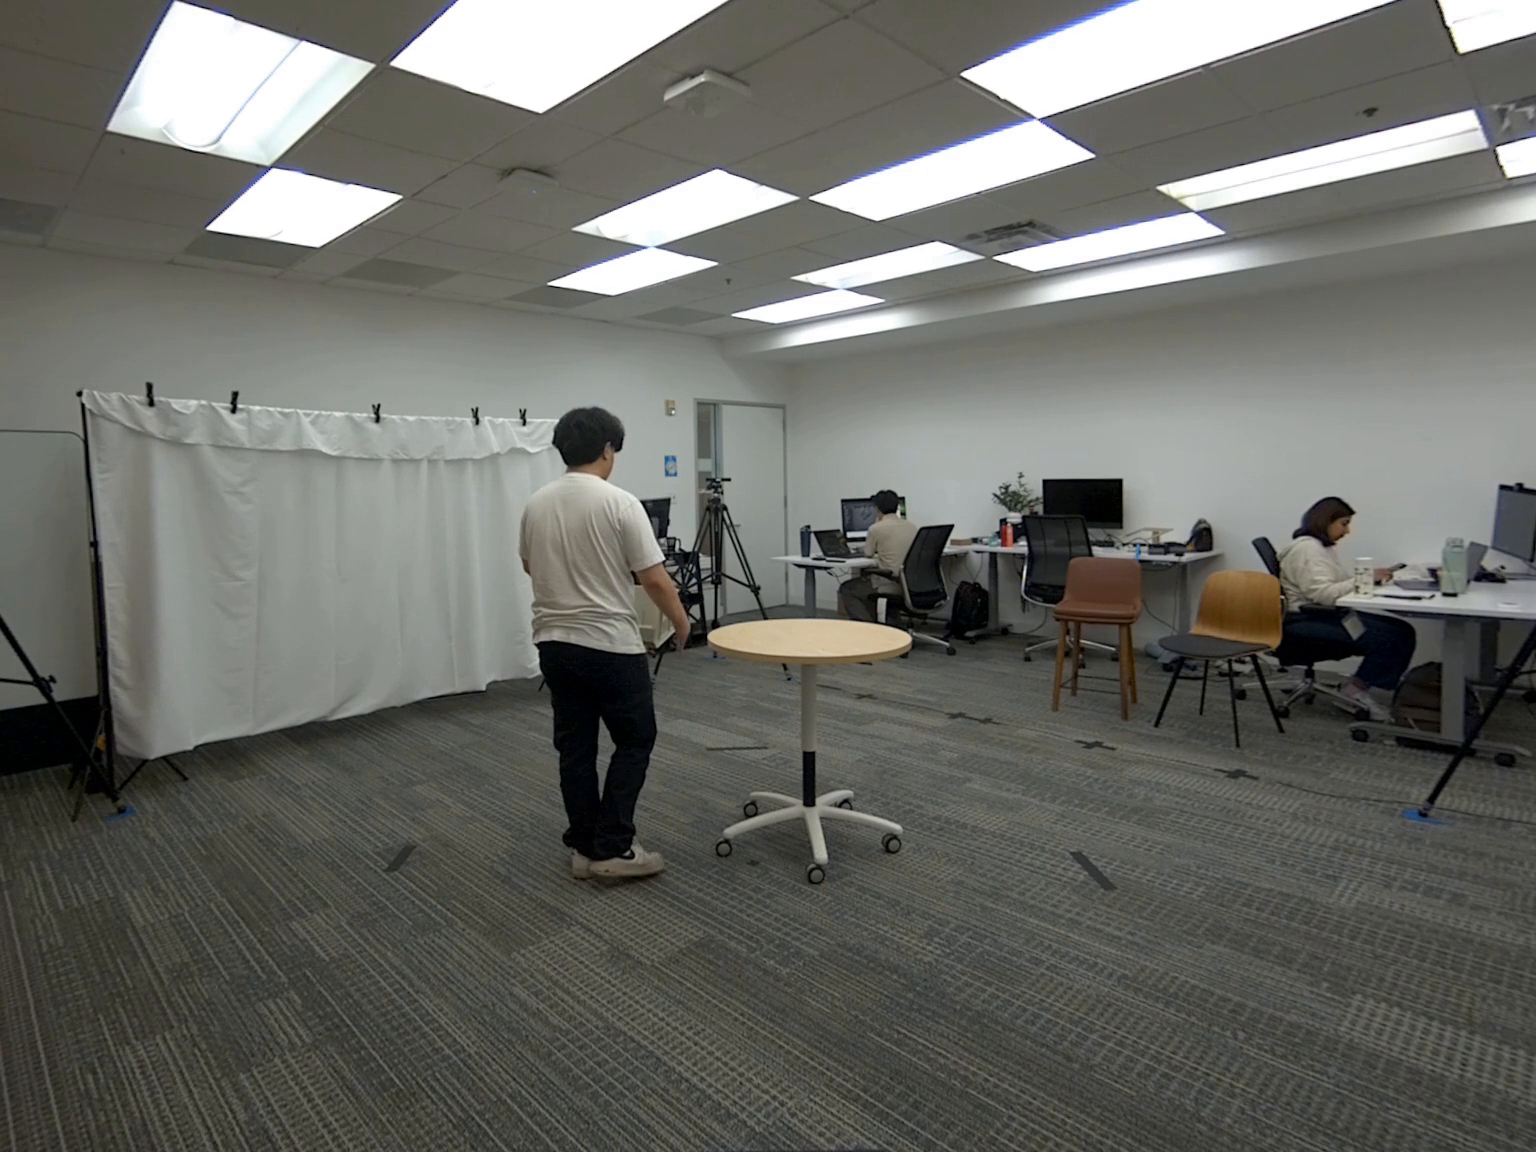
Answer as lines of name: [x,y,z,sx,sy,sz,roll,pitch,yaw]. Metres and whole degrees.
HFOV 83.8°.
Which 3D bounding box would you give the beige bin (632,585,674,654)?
beige bin: [-0.606,0.156,3.475,0.426,0.188,0.375,2,4,7]
